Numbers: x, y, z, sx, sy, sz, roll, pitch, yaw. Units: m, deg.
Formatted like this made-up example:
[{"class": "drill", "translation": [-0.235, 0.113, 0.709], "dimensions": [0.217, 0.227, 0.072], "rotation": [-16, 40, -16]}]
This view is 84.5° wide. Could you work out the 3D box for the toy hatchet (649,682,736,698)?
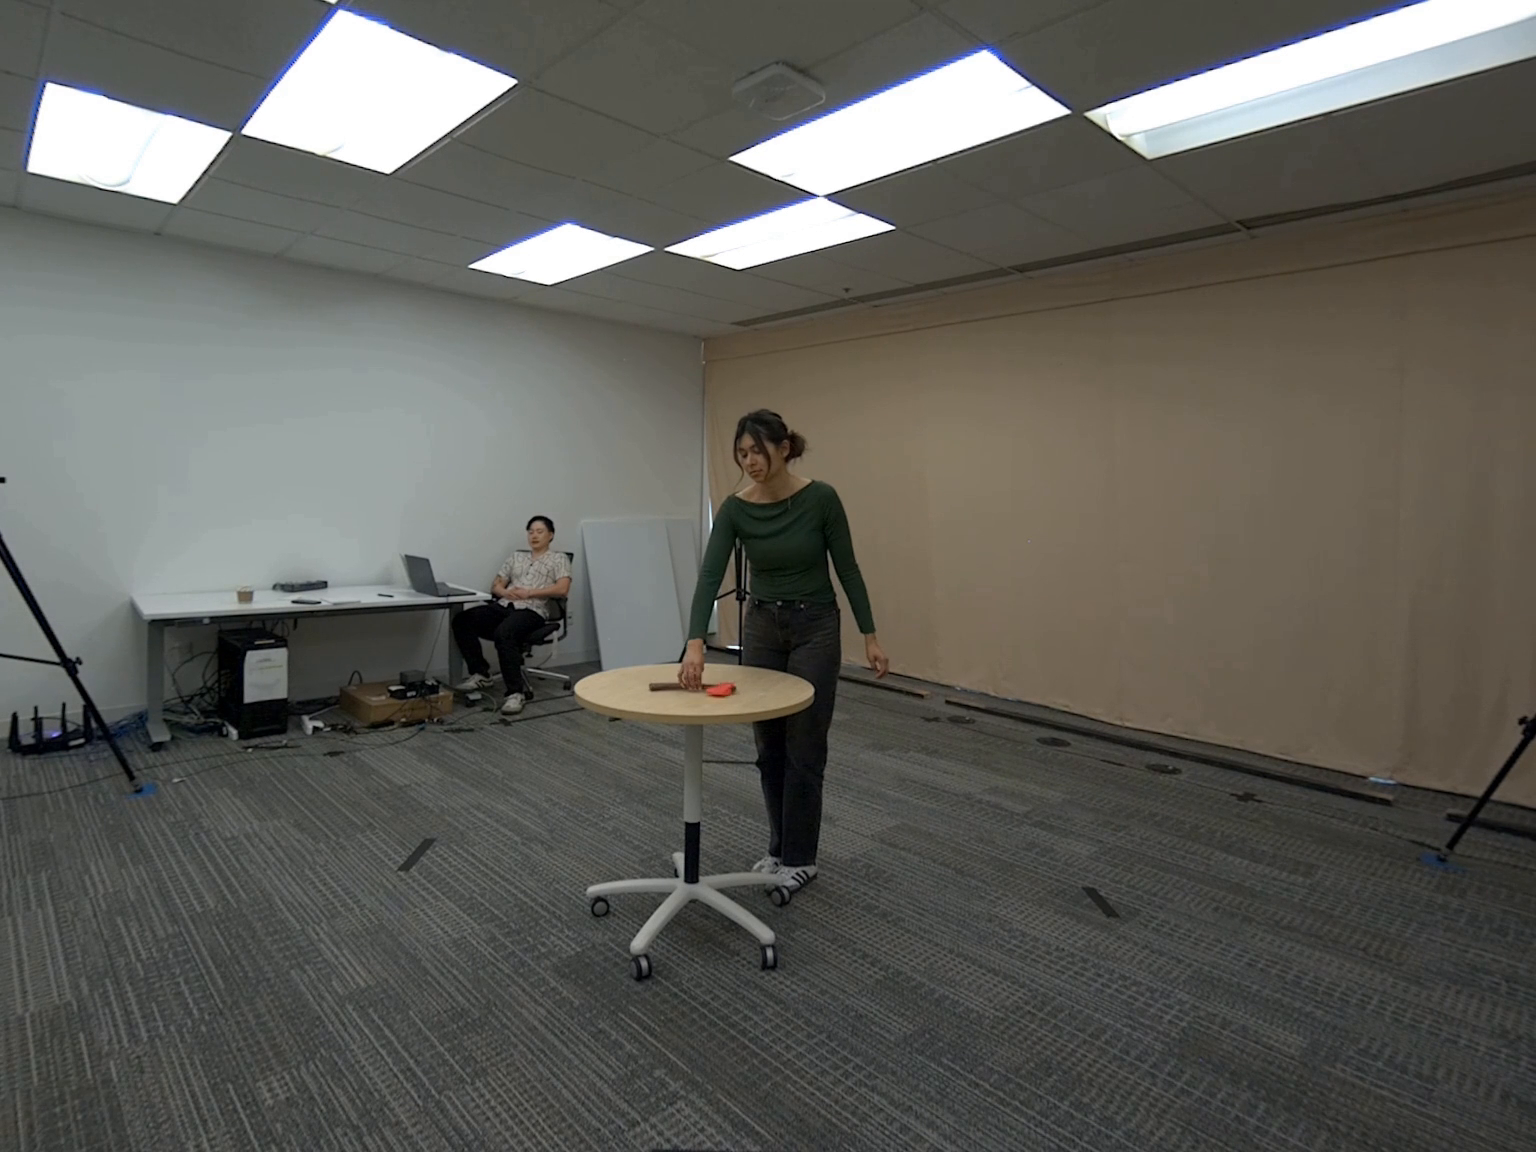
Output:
[{"class": "toy hatchet", "translation": [-0.253, 0.354, 2.598], "dimensions": [0.269, 0.029, 0.132], "rotation": [-2, 5, -4]}]
